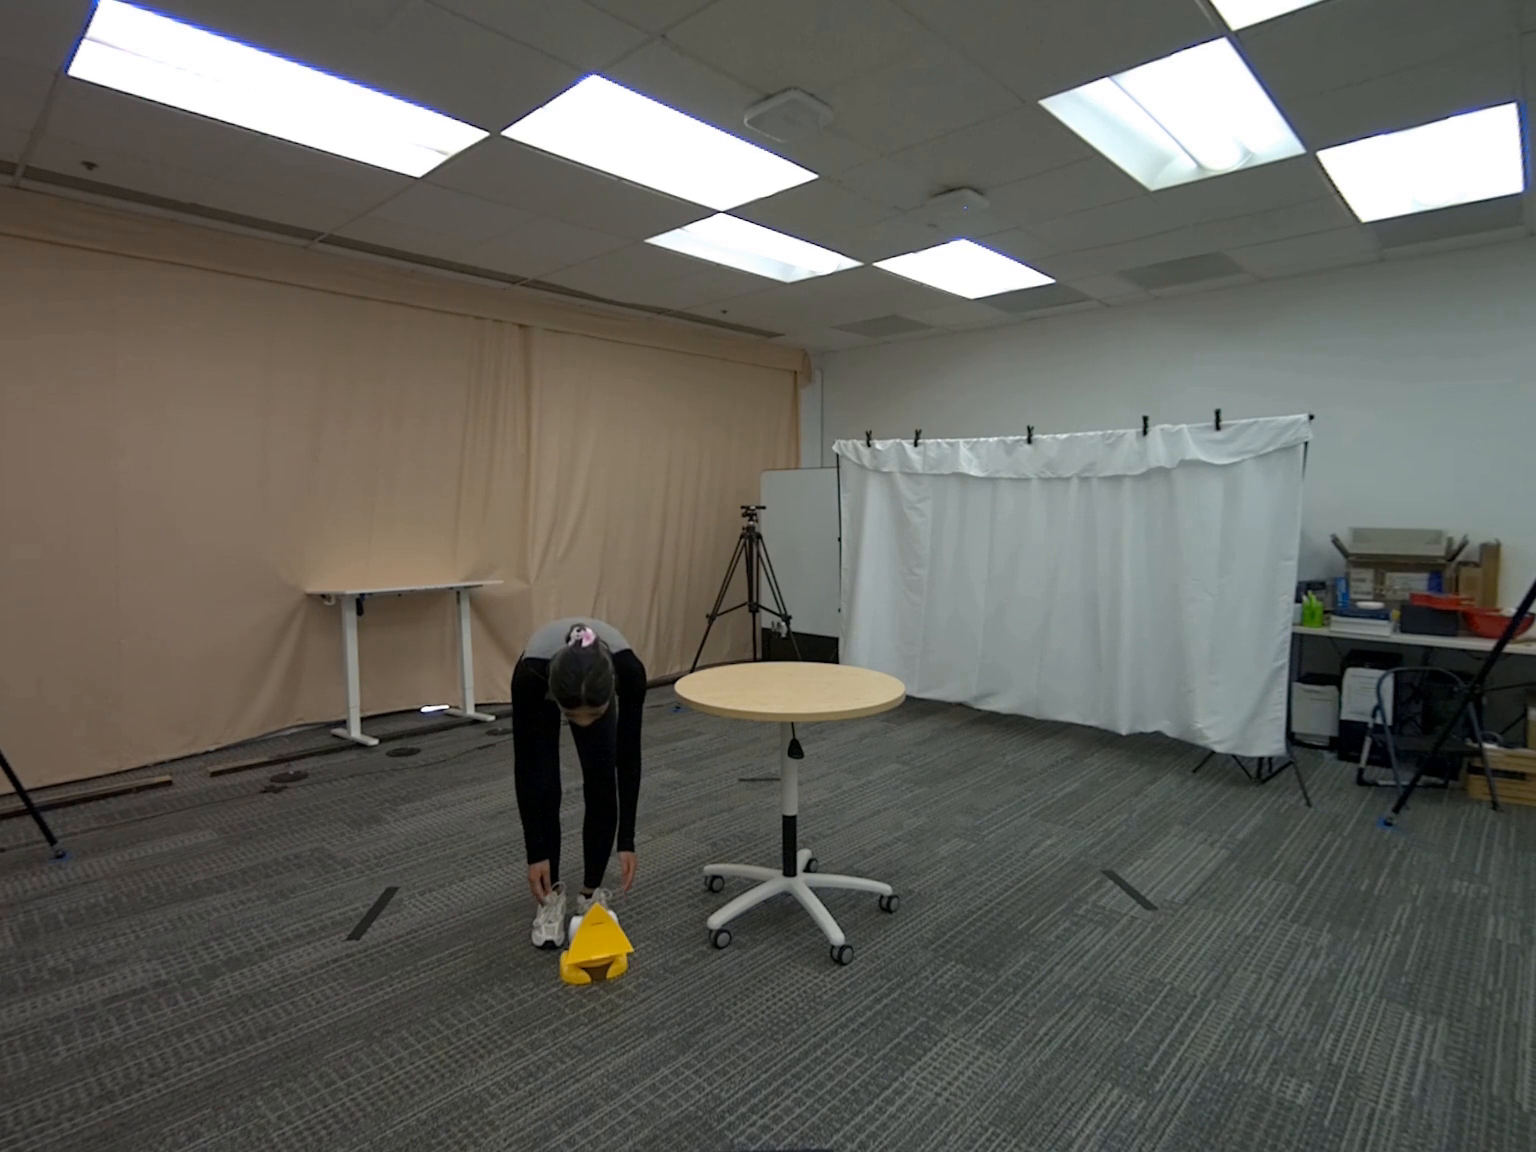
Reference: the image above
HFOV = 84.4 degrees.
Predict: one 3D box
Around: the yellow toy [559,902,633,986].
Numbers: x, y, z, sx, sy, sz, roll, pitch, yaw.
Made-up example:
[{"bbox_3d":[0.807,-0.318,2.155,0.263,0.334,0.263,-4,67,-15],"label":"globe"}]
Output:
[{"bbox_3d":[-0.526,1.073,2.532,0.200,0.230,0.198,-2,4,-23],"label":"yellow toy"}]
